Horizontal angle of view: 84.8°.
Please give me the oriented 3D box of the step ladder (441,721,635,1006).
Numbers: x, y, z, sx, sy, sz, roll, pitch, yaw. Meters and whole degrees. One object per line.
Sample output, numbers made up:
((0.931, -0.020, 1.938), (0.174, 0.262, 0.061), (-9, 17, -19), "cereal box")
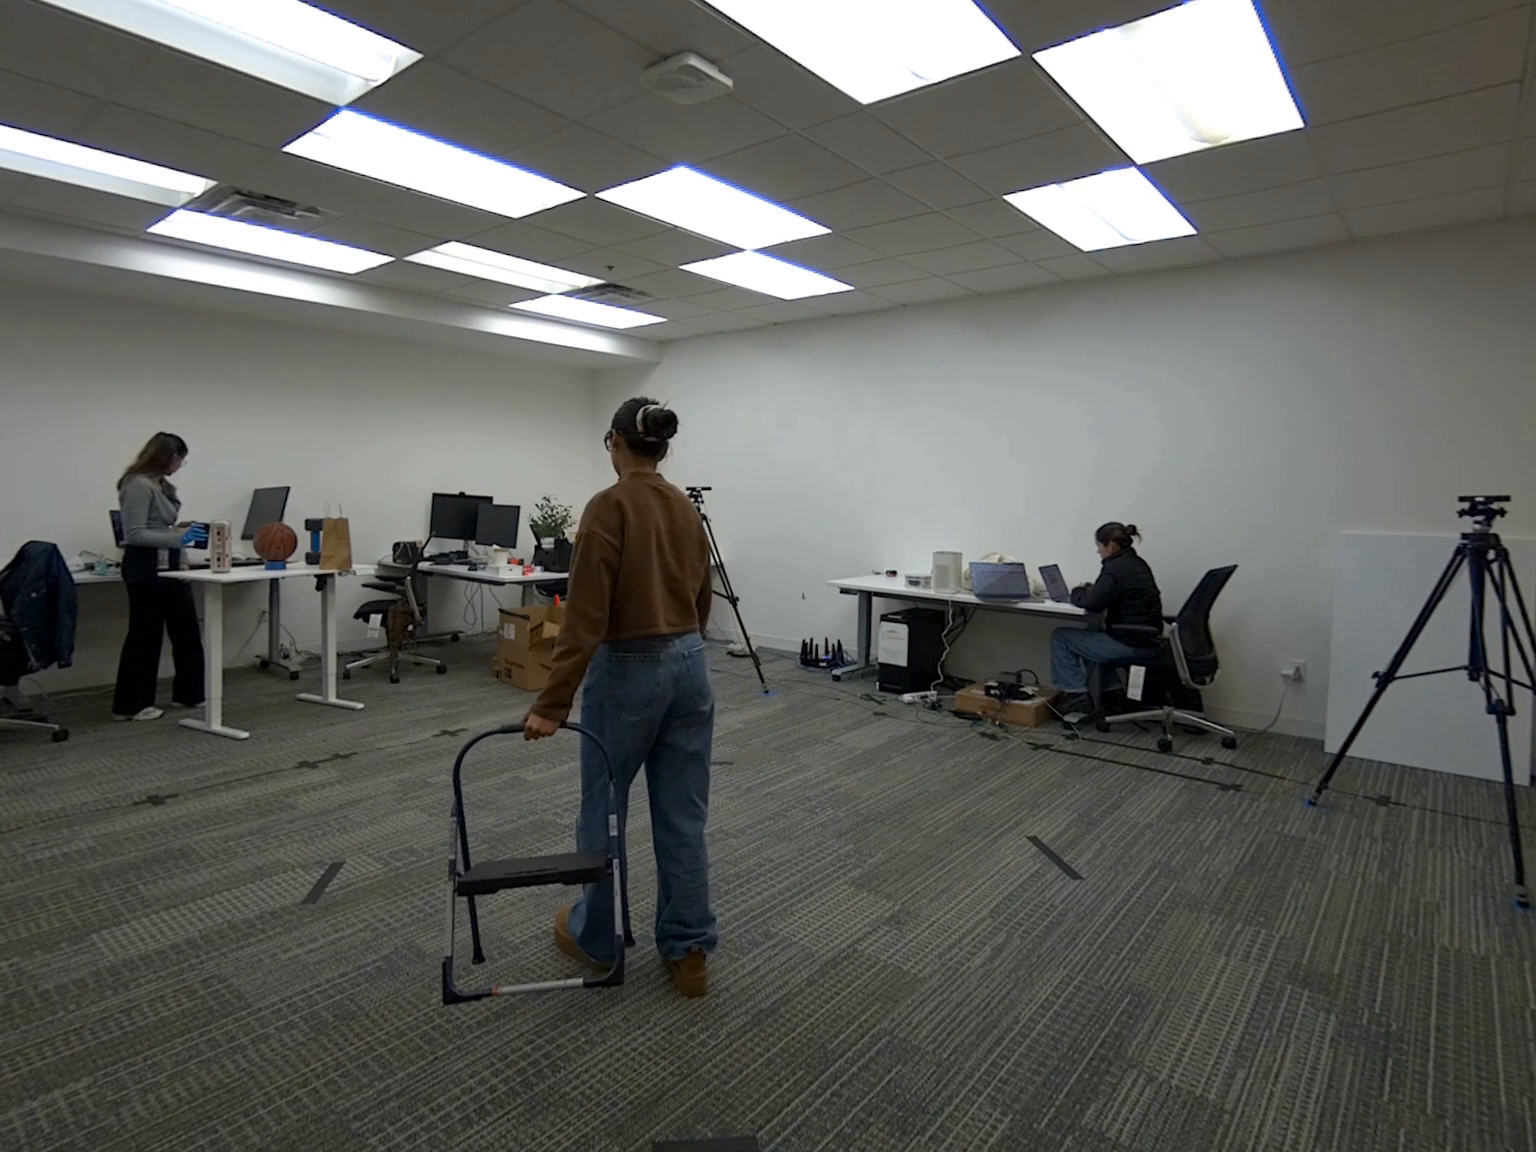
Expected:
((-0.598, 0.685, 2.149), (0.429, 0.613, 0.347), (-5, -10, -5), "step ladder")
